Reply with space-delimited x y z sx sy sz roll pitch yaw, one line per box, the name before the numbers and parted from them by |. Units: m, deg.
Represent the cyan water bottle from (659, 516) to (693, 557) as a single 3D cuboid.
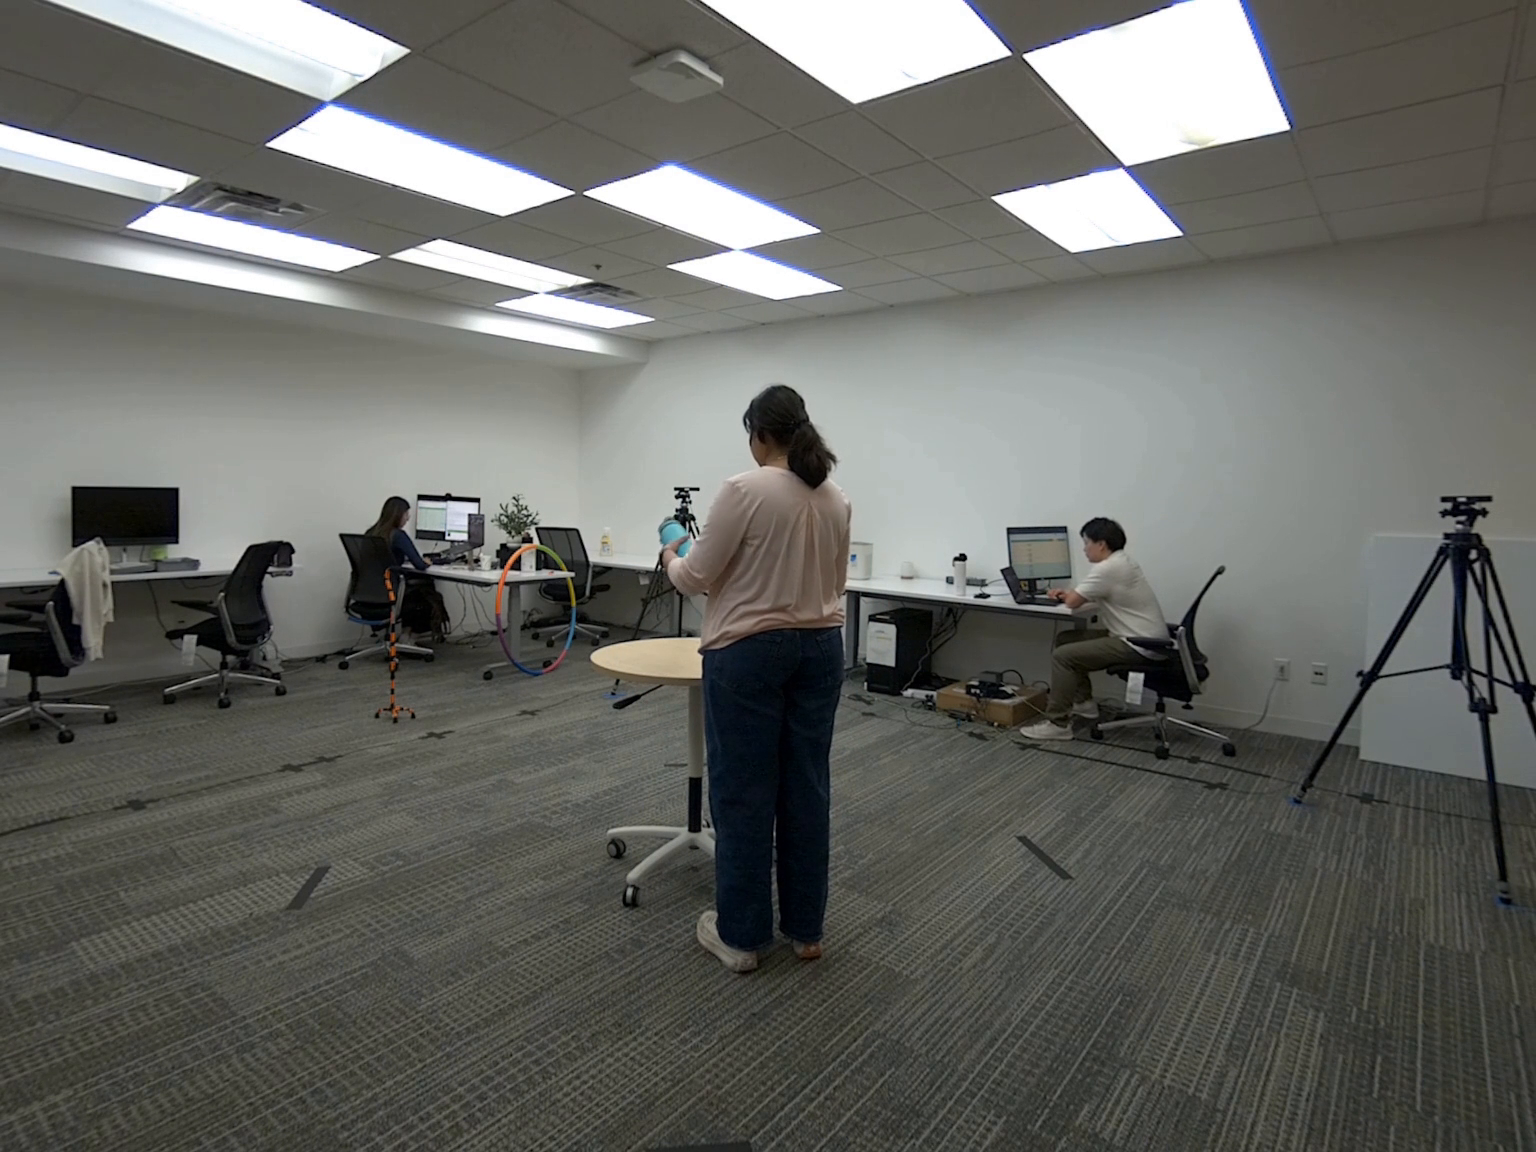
cyan water bottle | -0.288 -0.087 2.809 0.090 0.091 0.295 -1 38 -25
